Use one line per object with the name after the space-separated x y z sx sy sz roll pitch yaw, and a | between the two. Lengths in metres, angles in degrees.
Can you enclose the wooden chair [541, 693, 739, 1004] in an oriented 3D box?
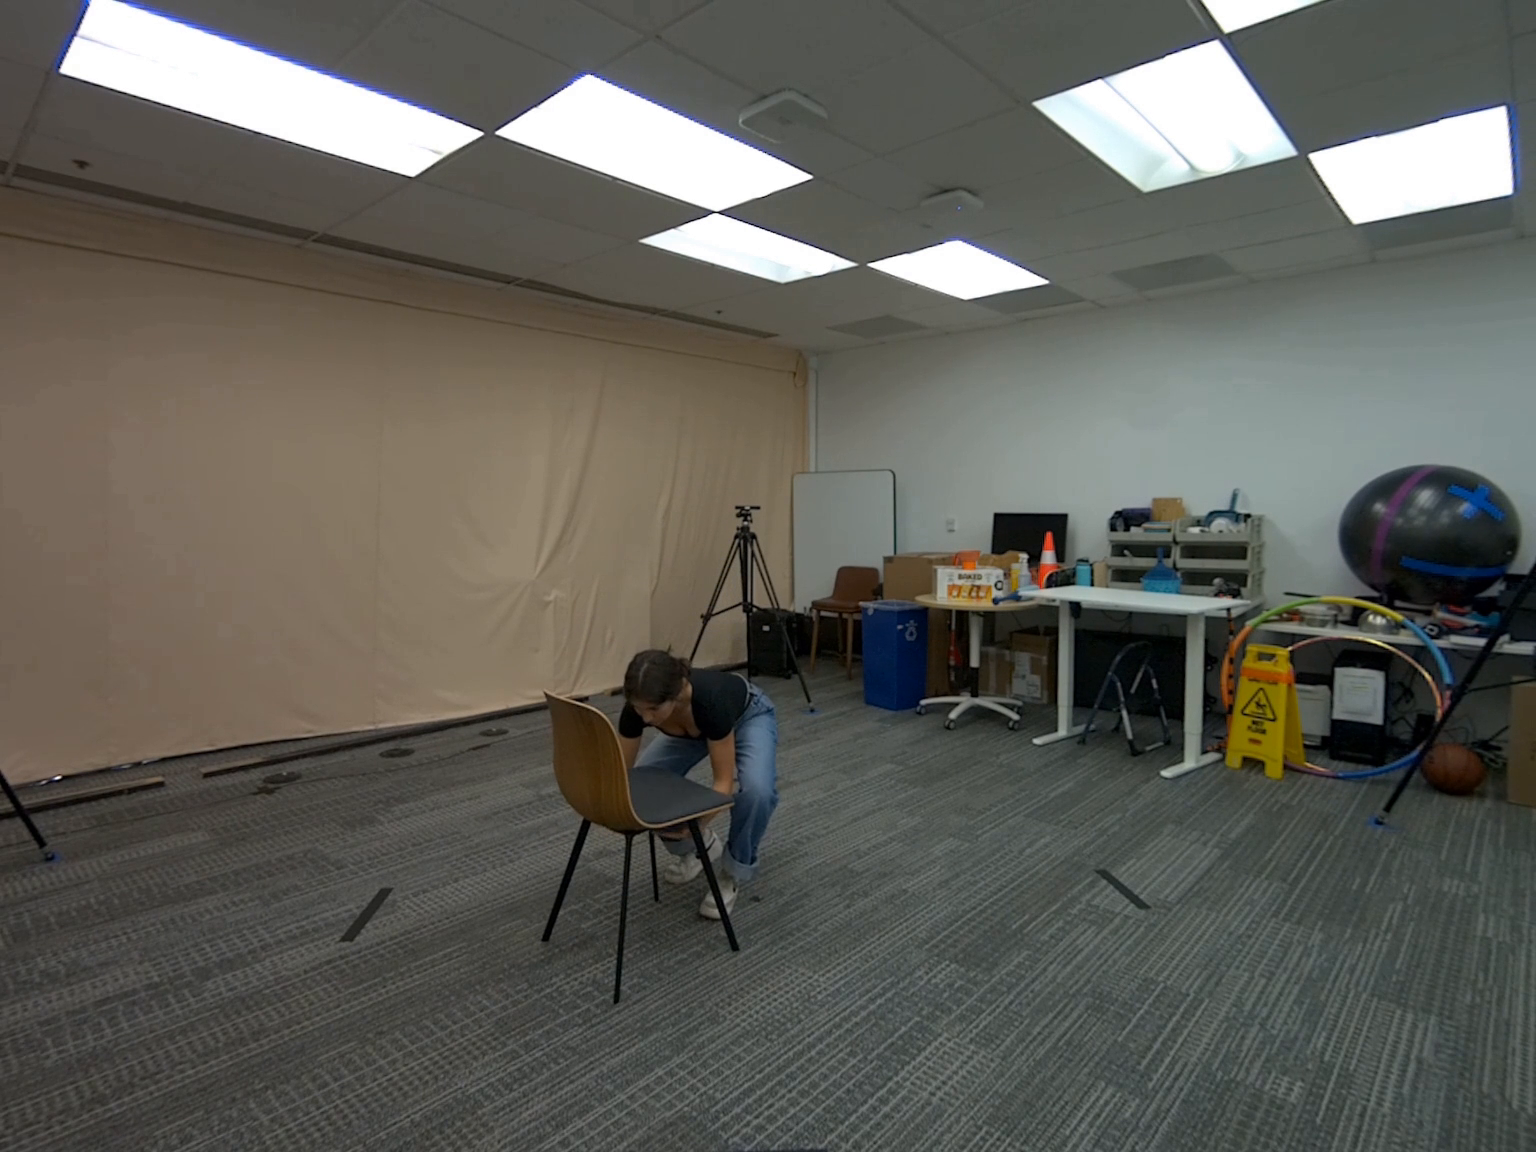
-0.408 0.746 2.647 0.508 0.874 0.493 -8 6 -40 | wooden chair
